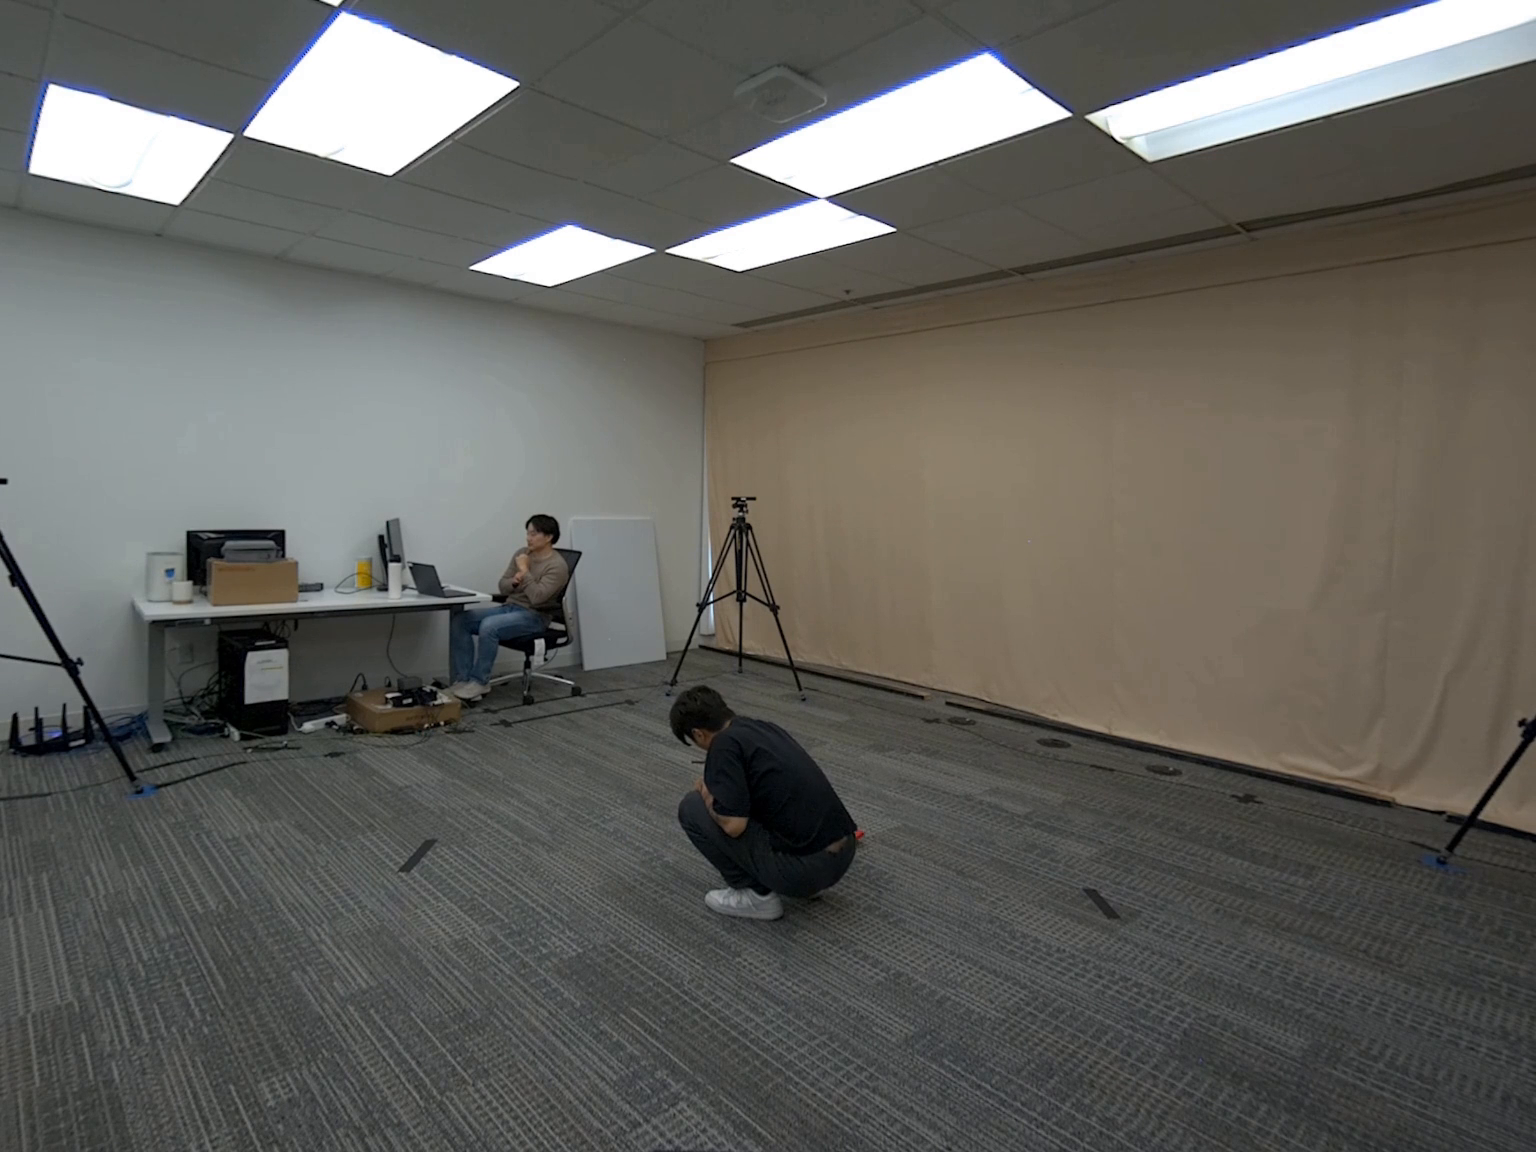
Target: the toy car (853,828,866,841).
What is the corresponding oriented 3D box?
[{"bbox_3d":[0.281,1.057,3.471,0.259,0.083,0.127,-8,-5,42],"label":"toy car"}]
